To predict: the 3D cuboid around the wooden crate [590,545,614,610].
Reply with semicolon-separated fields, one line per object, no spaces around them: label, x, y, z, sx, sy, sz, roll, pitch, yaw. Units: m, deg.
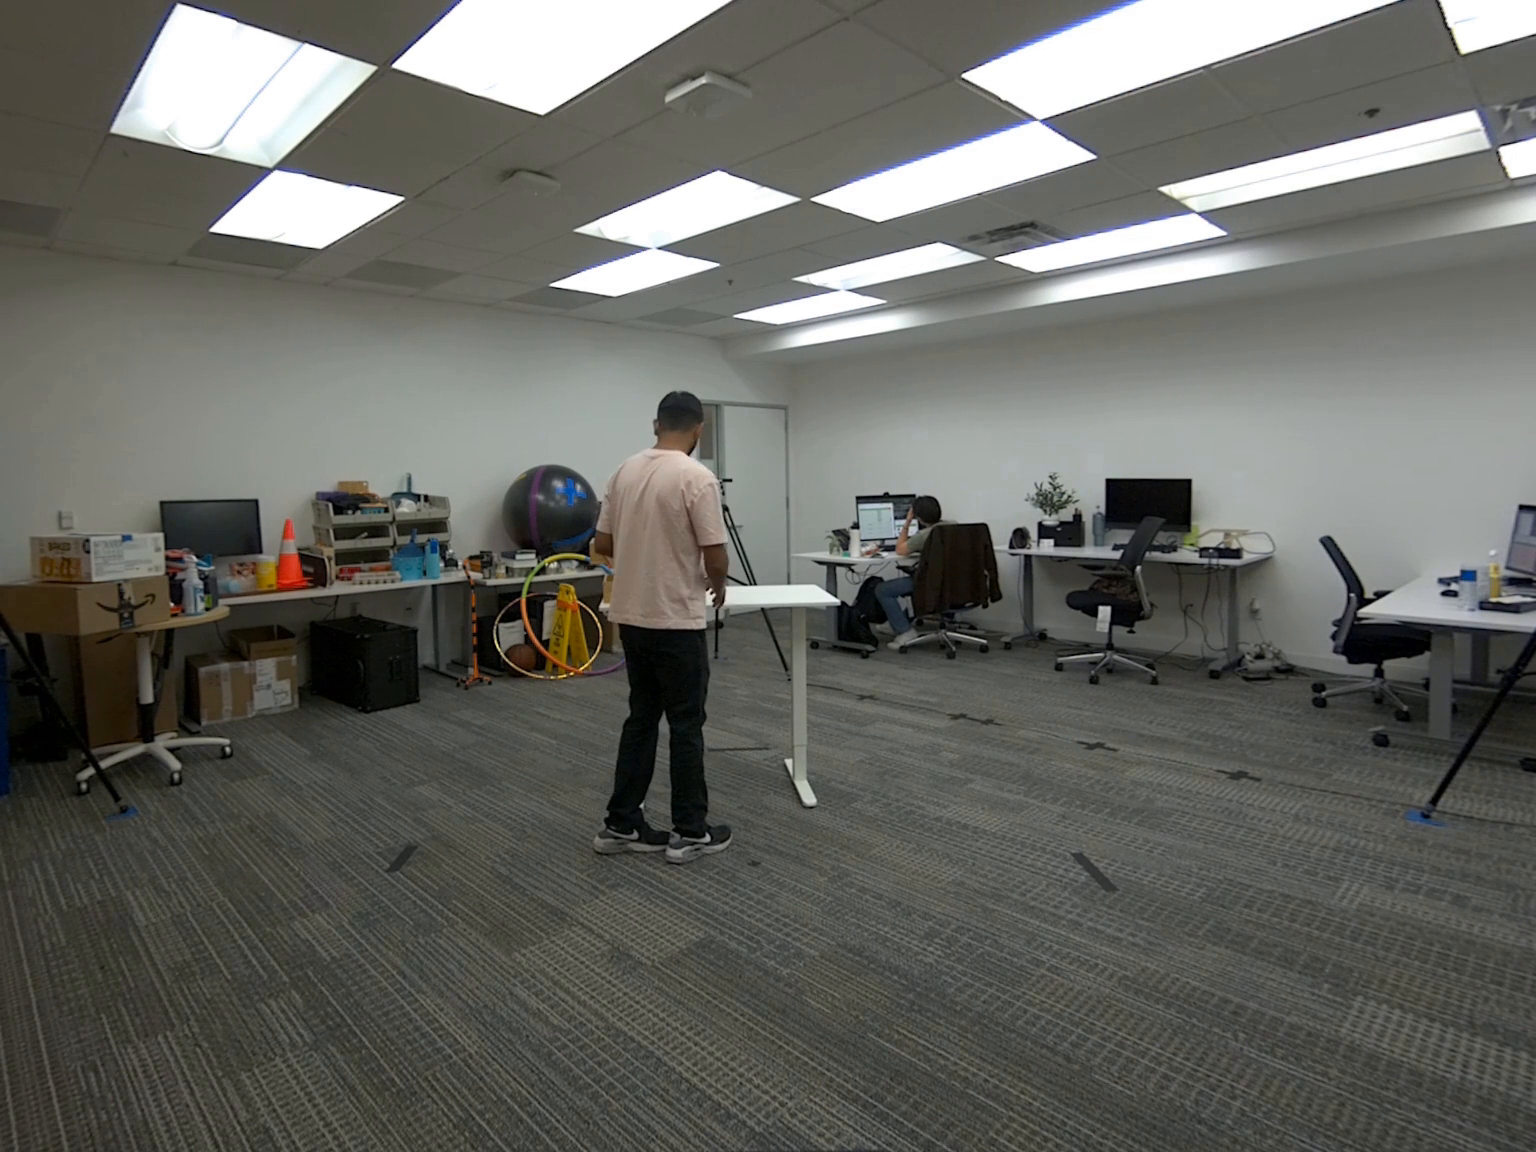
wooden crate;-0.609;-0.038;3.764;0.300;0.272;0.328;-3;5;-8
